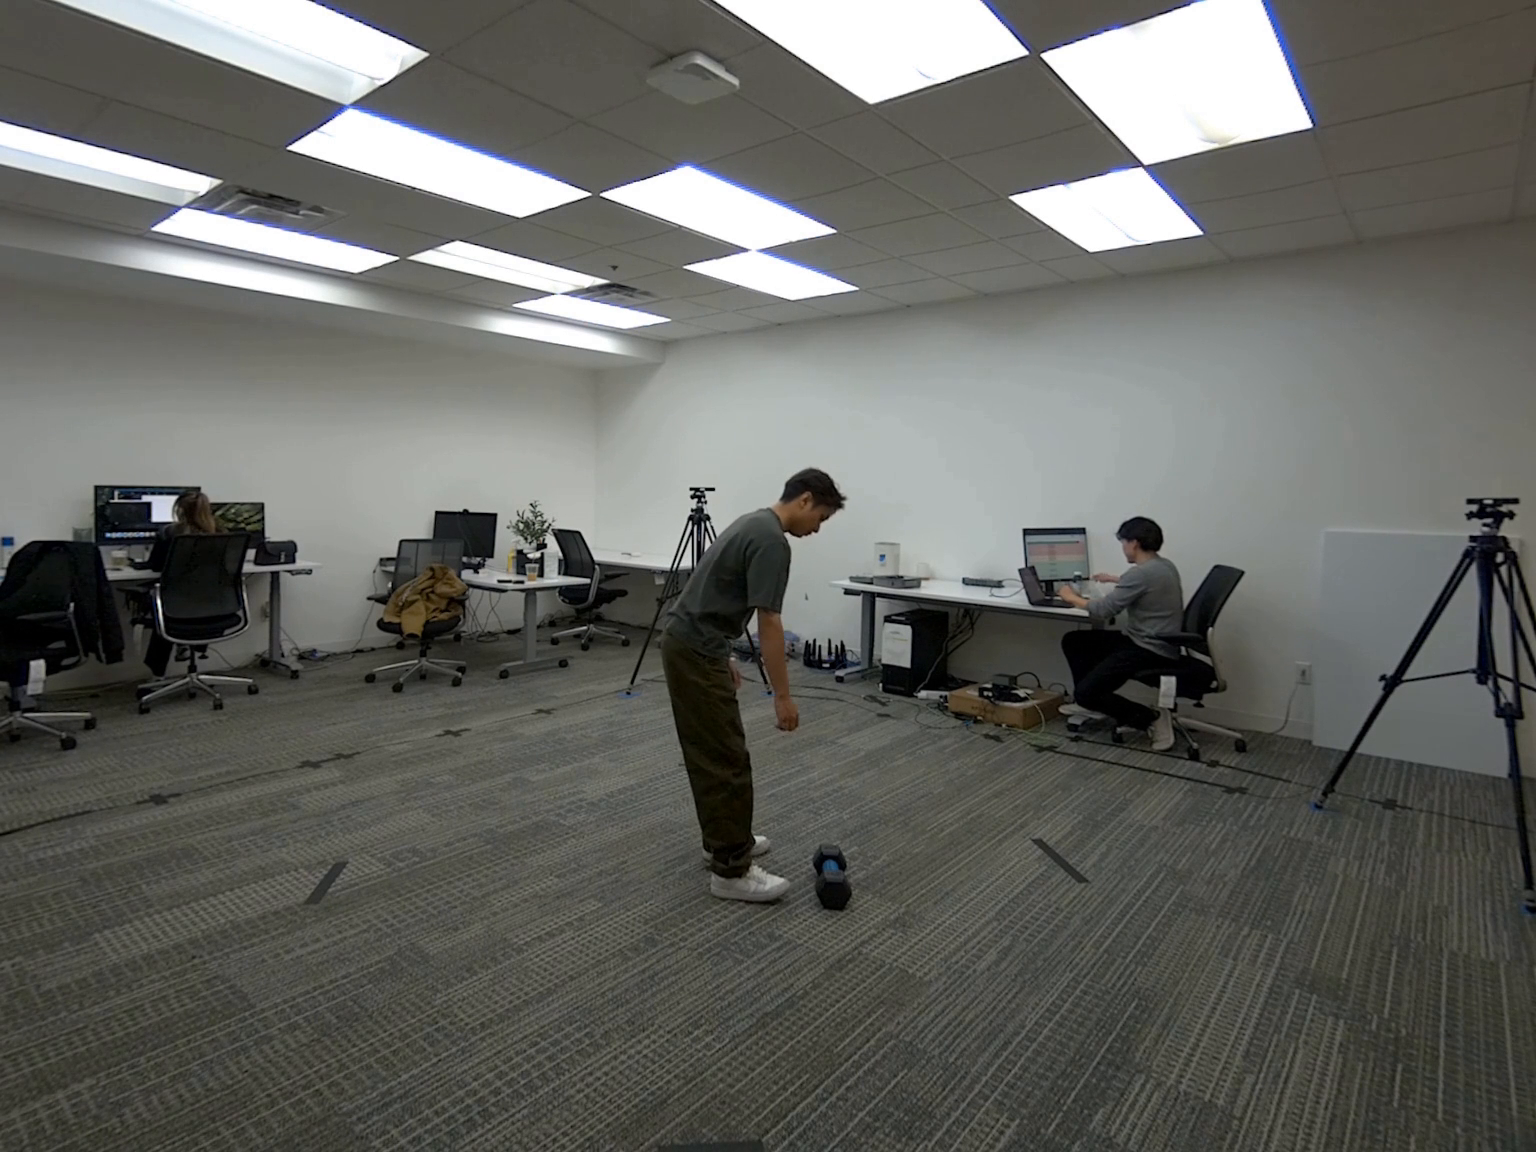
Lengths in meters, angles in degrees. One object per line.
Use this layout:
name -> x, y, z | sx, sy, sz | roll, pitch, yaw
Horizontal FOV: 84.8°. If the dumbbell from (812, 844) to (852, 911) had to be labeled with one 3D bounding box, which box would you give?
dumbbell -> 0.212, 1.037, 2.958 | 0.108, 0.123, 0.294 | 32, 4, -3
